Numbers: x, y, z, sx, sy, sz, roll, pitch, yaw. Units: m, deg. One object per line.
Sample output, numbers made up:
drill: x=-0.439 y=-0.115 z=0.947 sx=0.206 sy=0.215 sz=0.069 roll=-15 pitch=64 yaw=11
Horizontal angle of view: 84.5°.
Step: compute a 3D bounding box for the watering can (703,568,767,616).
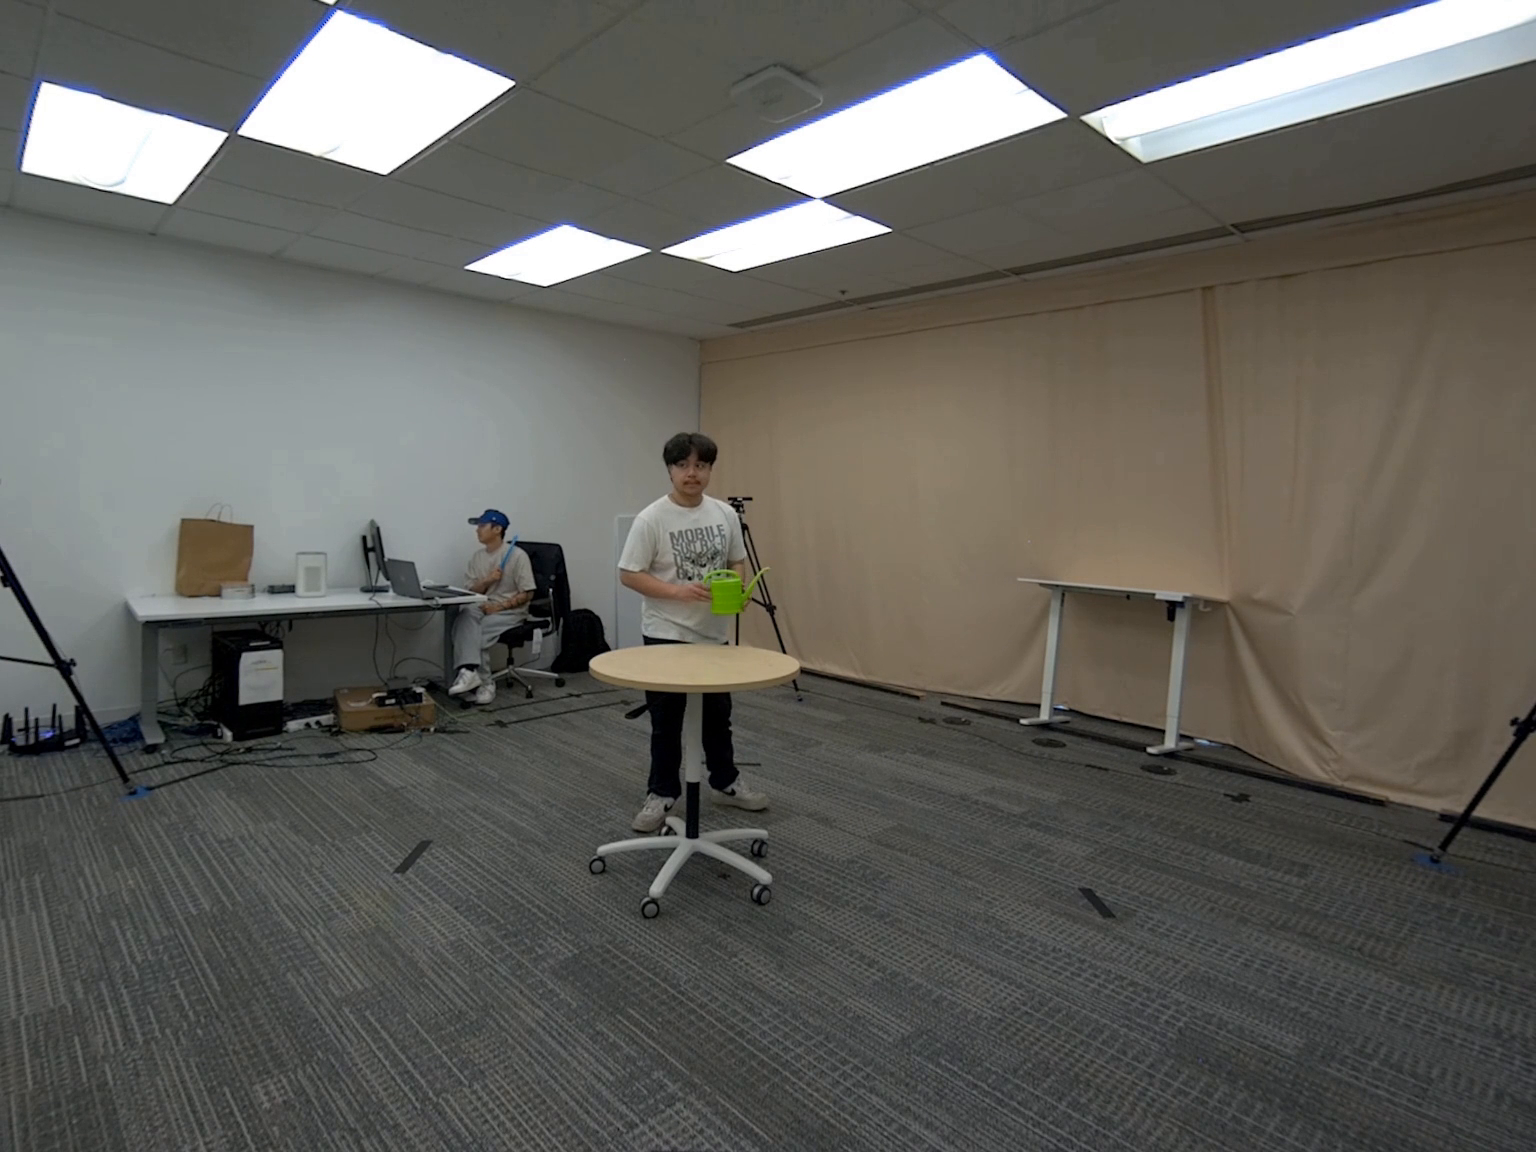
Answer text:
watering can: x=-0.136 y=0.065 z=3.425 sx=0.279 sy=0.176 sz=0.098 roll=-1 pitch=7 yaw=5
